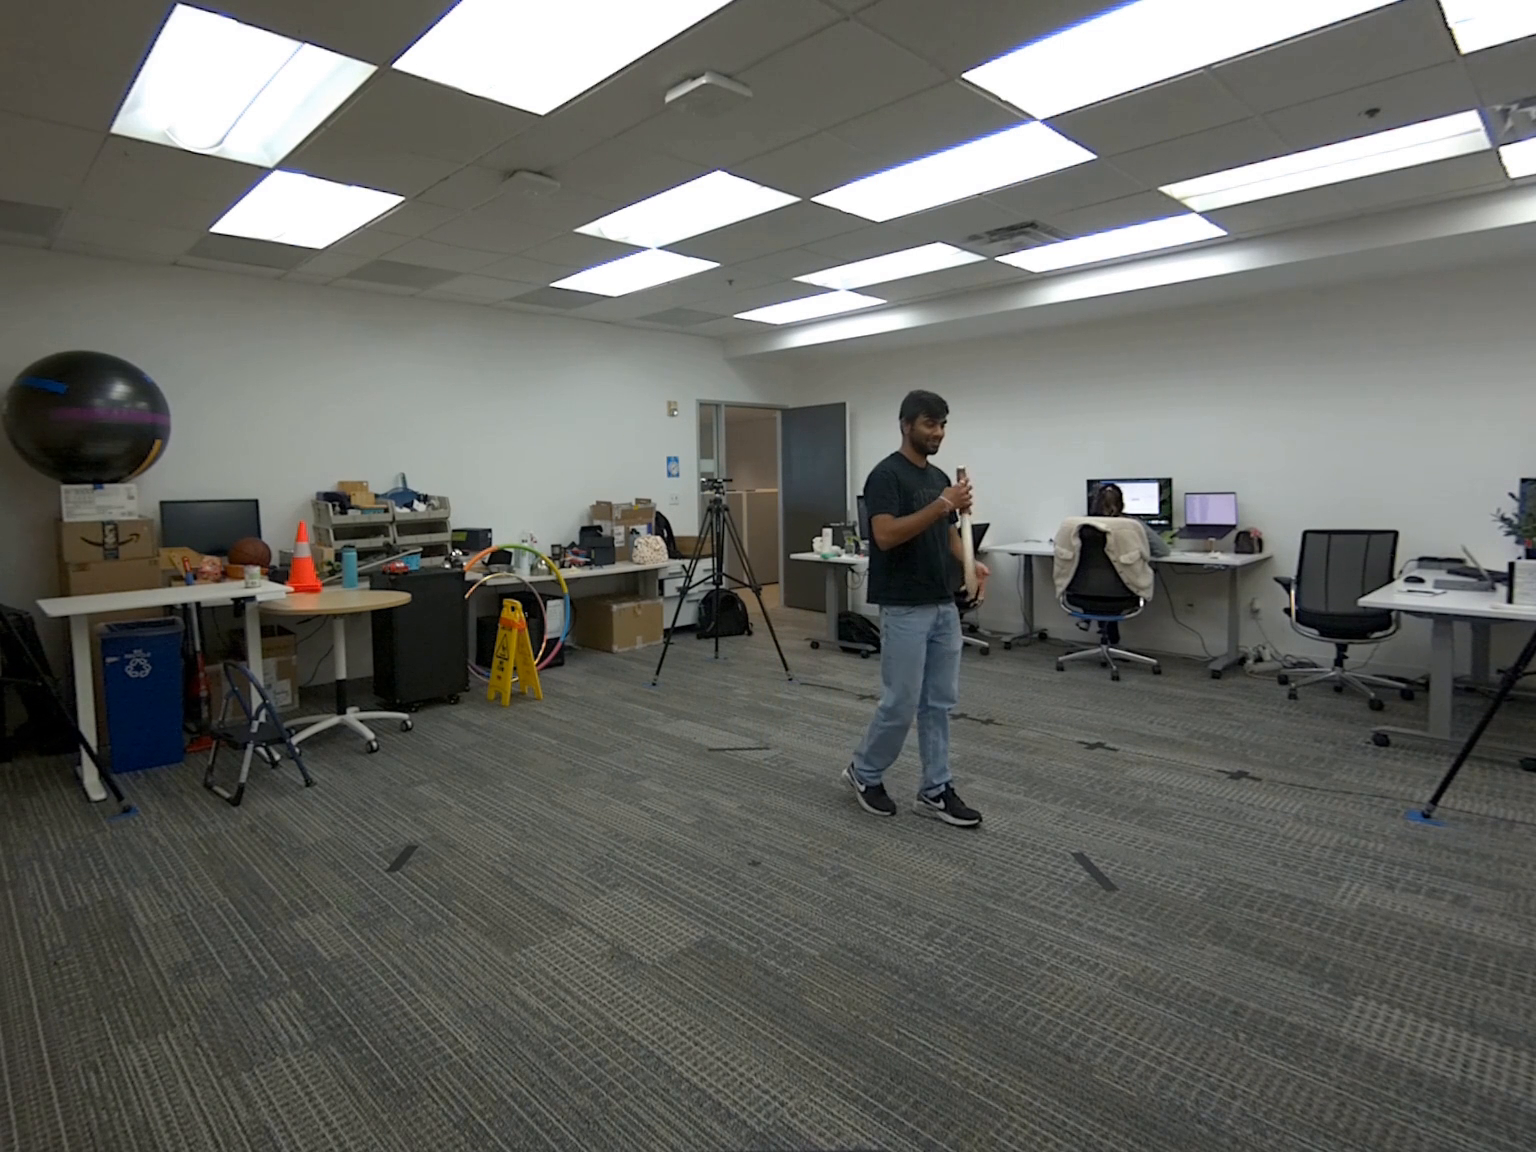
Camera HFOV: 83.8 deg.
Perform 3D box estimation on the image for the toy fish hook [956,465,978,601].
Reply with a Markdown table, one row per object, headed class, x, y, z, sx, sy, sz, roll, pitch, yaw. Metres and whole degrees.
| class | x | y | z | sx | sy | sz | roll | pitch | yaw |
| --- | --- | --- | --- | --- | --- | --- | --- | --- | --- |
| toy fish hook | 0.764 | -0.167 | 3.288 | 0.049 | 0.514 | 0.219 | -3 | -16 | 8 |
